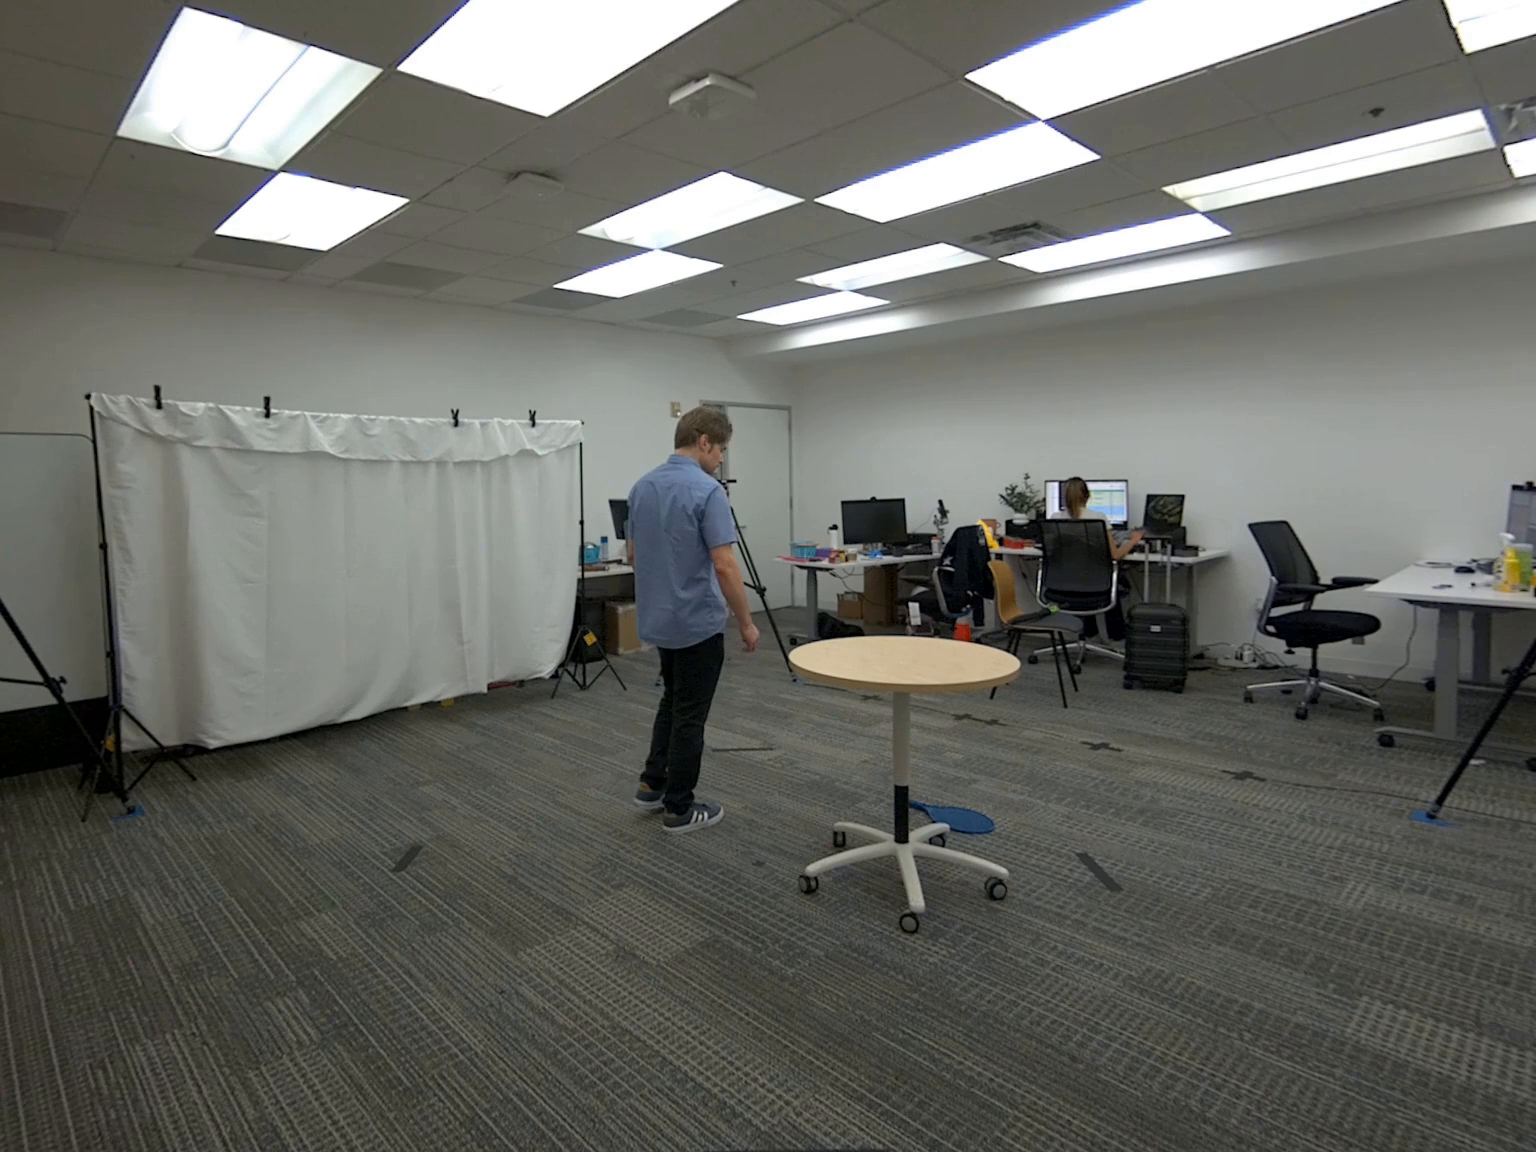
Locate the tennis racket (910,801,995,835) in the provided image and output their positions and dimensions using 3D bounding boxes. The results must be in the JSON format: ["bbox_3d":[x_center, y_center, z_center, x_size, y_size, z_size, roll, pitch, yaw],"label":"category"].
[{"bbox_3d":[0.725,0.973,3.516,0.208,0.031,0.447,-7,11,-43],"label":"tennis racket"}]
